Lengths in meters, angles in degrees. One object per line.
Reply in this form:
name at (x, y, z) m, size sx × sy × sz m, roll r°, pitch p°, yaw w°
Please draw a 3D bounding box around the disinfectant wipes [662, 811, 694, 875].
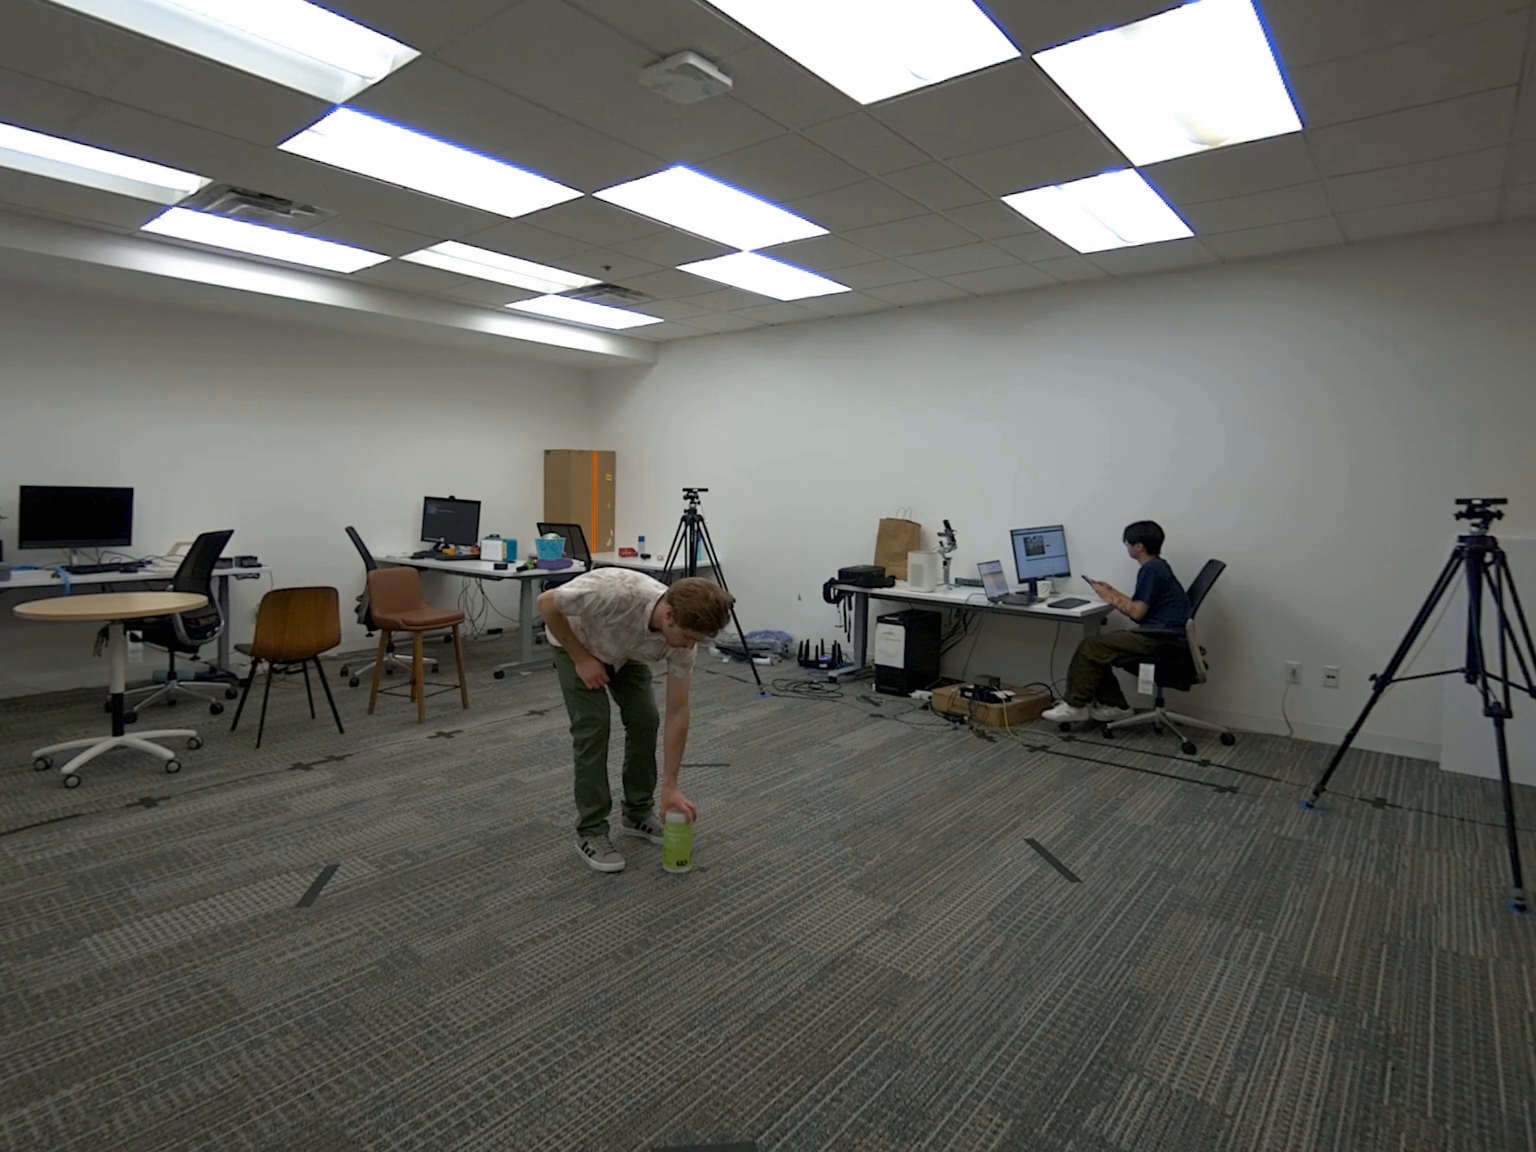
disinfectant wipes at (-0.343, 0.964, 3.112) m, size 0.118 × 0.217 × 0.118 m, roll 1°, pitch 3°, yaw -2°
